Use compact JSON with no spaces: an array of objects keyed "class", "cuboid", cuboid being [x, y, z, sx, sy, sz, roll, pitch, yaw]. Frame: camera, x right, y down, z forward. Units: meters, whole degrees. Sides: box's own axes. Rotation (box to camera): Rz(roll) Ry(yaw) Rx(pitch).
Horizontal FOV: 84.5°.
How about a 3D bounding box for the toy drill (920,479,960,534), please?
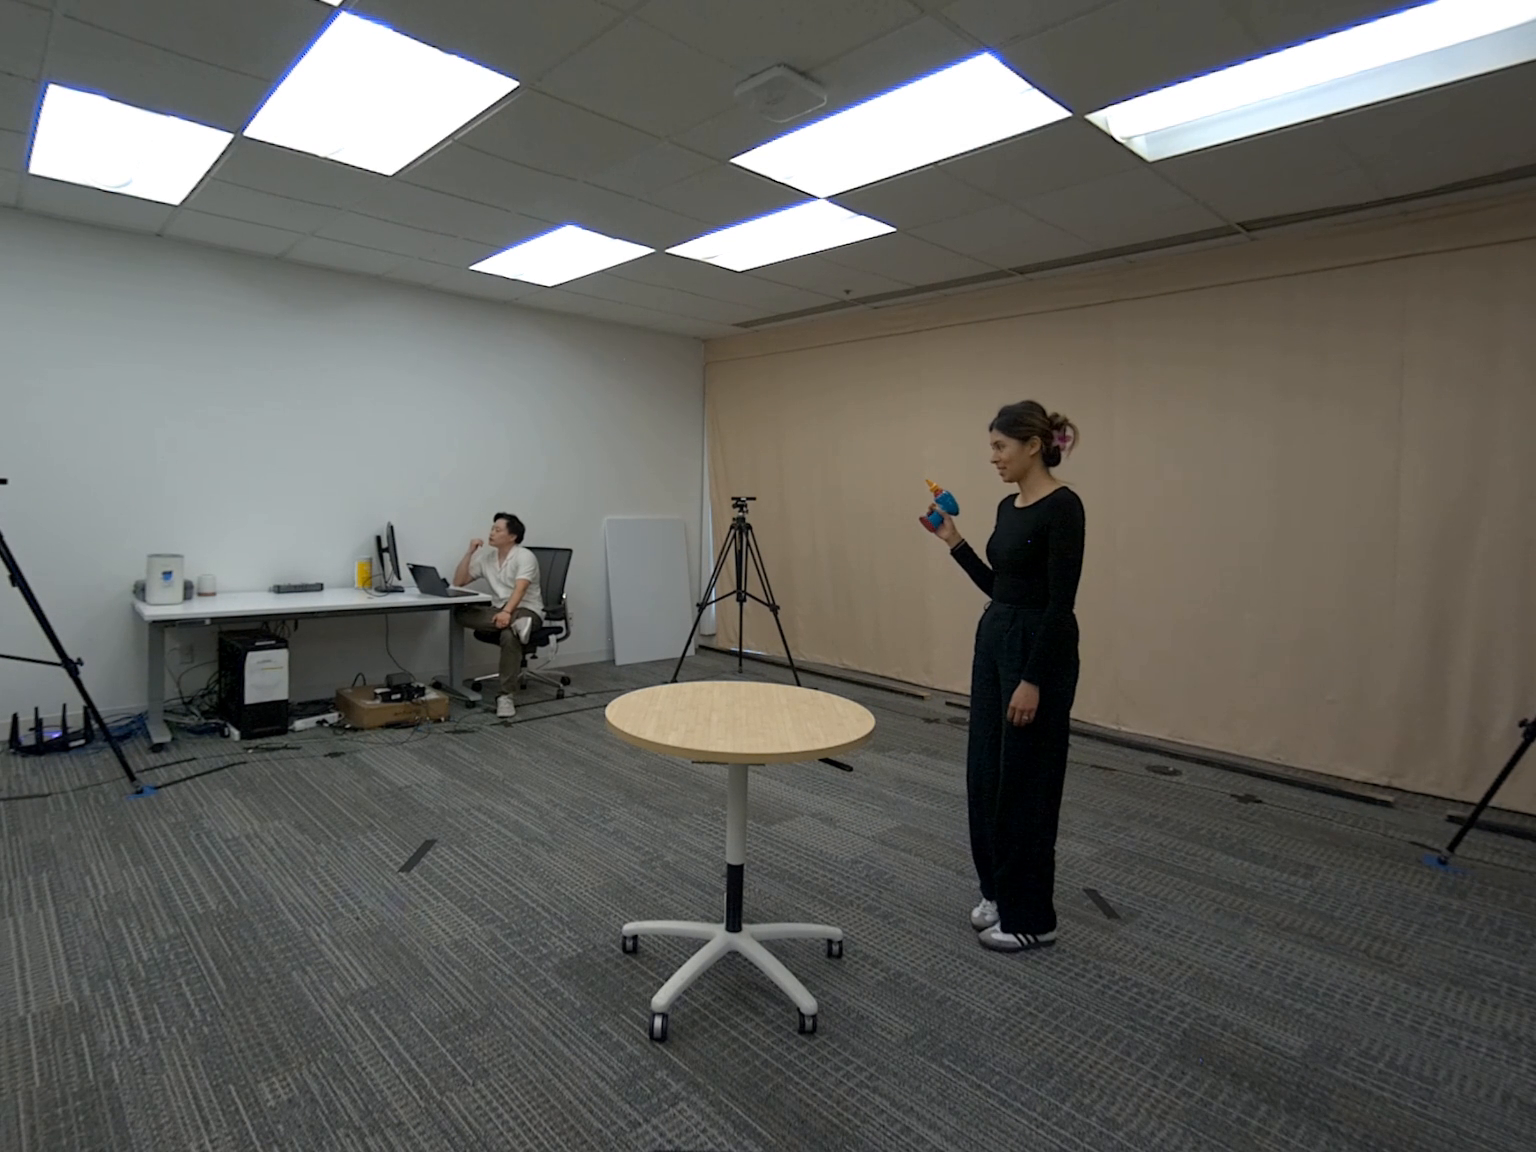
[{"class":"toy drill","cuboid":[0.584,-0.252,2.952,0.146,0.169,0.061,-41,3,-3]}]
